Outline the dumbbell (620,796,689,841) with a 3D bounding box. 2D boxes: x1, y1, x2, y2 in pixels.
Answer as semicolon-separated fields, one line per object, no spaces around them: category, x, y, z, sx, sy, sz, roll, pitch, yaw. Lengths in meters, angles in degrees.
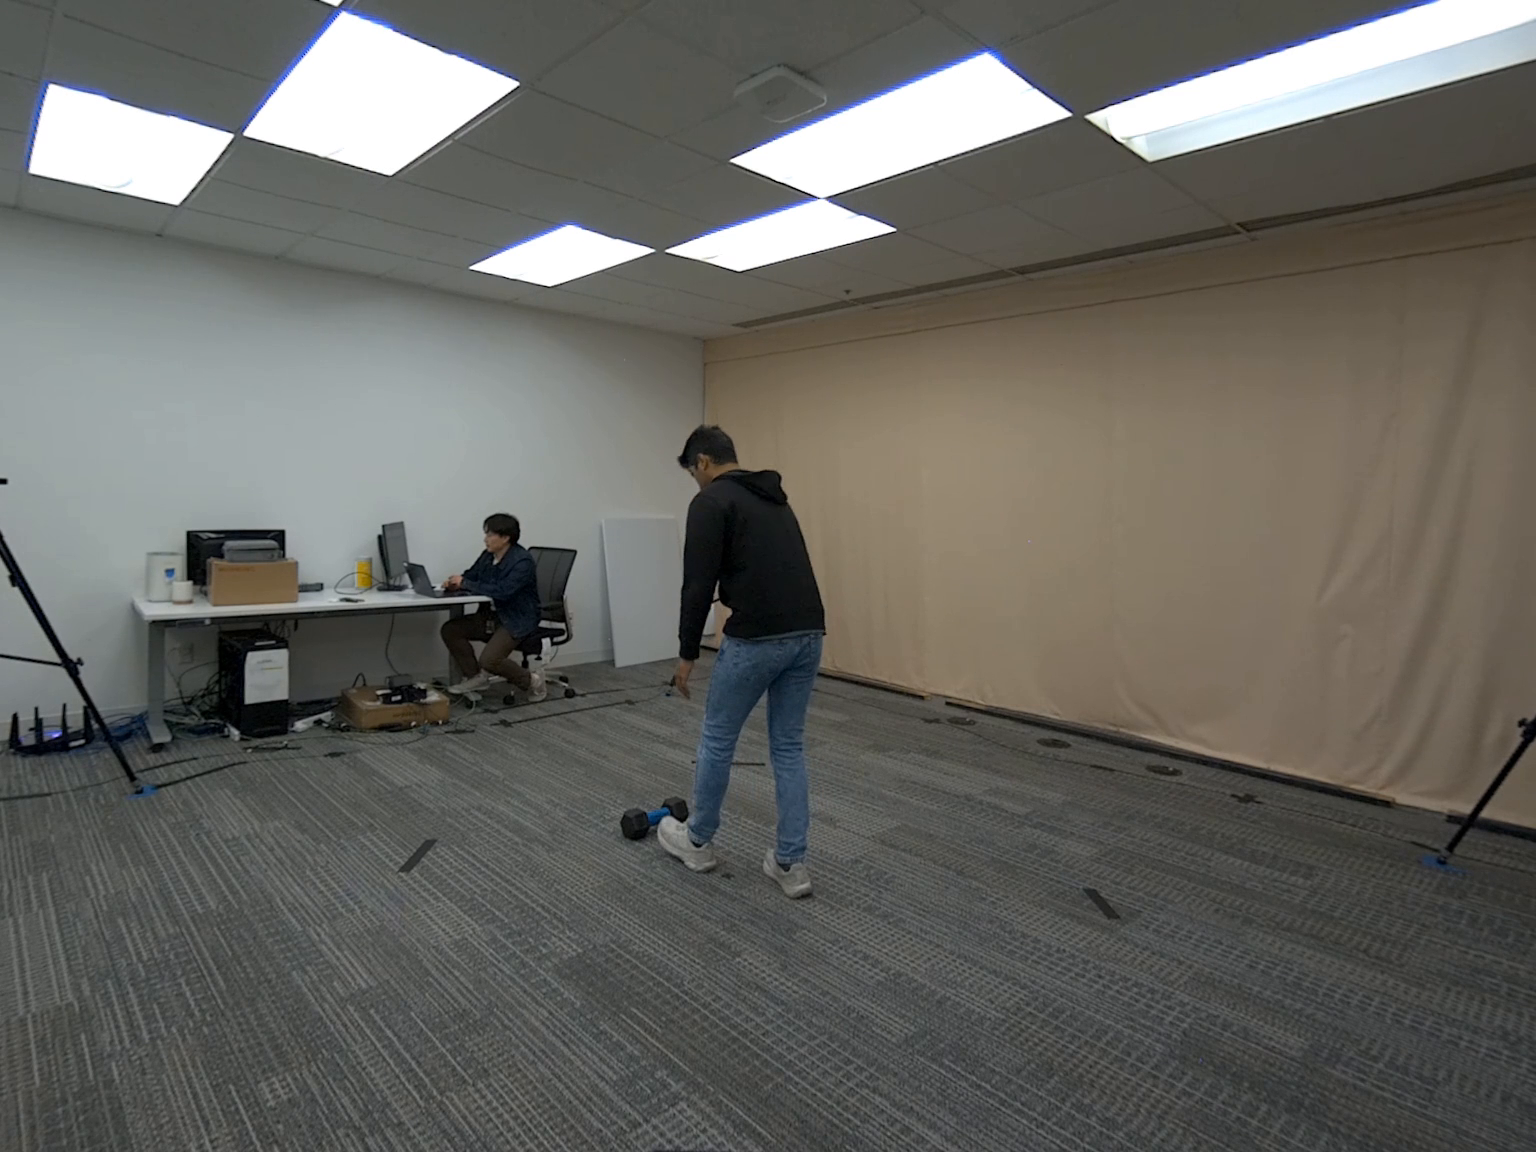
dumbbell;-0.480;1.009;3.510;0.287;0.125;0.109;-3;-24;-45
